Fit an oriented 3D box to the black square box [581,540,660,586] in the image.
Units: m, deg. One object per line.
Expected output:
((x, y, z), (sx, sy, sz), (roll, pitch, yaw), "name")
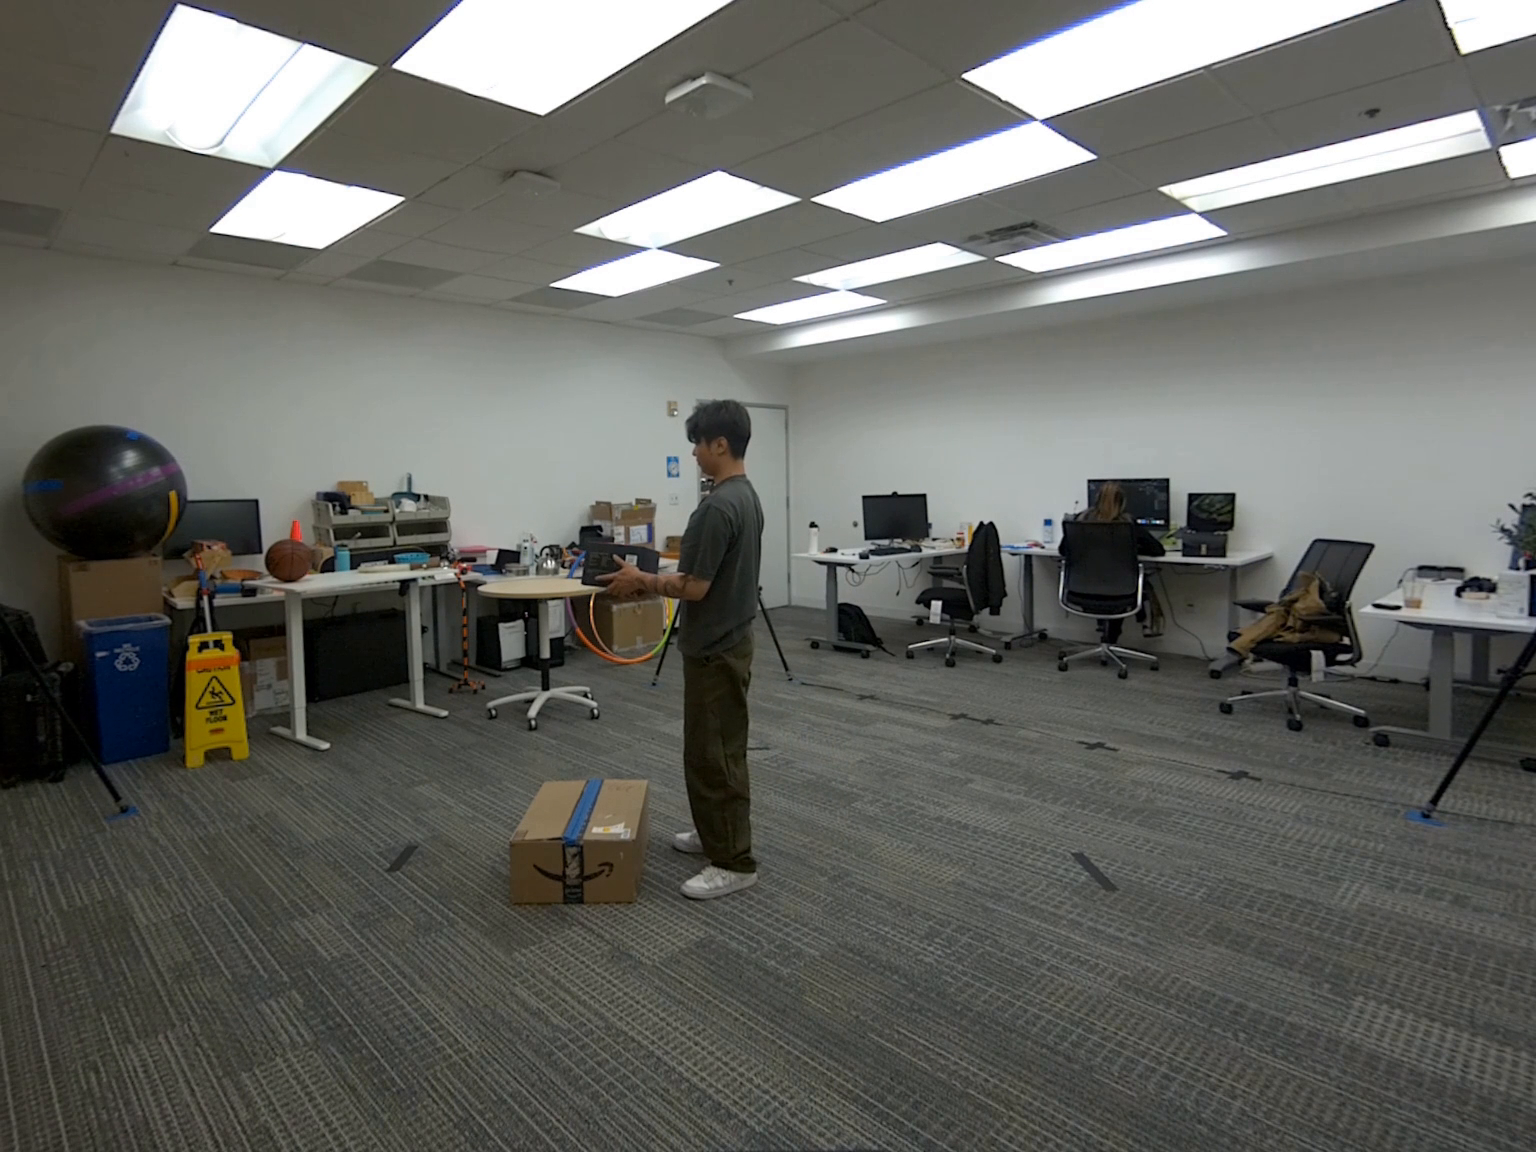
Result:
((-0.529, -0.031, 3.093), (0.219, 0.156, 0.225), (5, -1, 8), "black square box")
